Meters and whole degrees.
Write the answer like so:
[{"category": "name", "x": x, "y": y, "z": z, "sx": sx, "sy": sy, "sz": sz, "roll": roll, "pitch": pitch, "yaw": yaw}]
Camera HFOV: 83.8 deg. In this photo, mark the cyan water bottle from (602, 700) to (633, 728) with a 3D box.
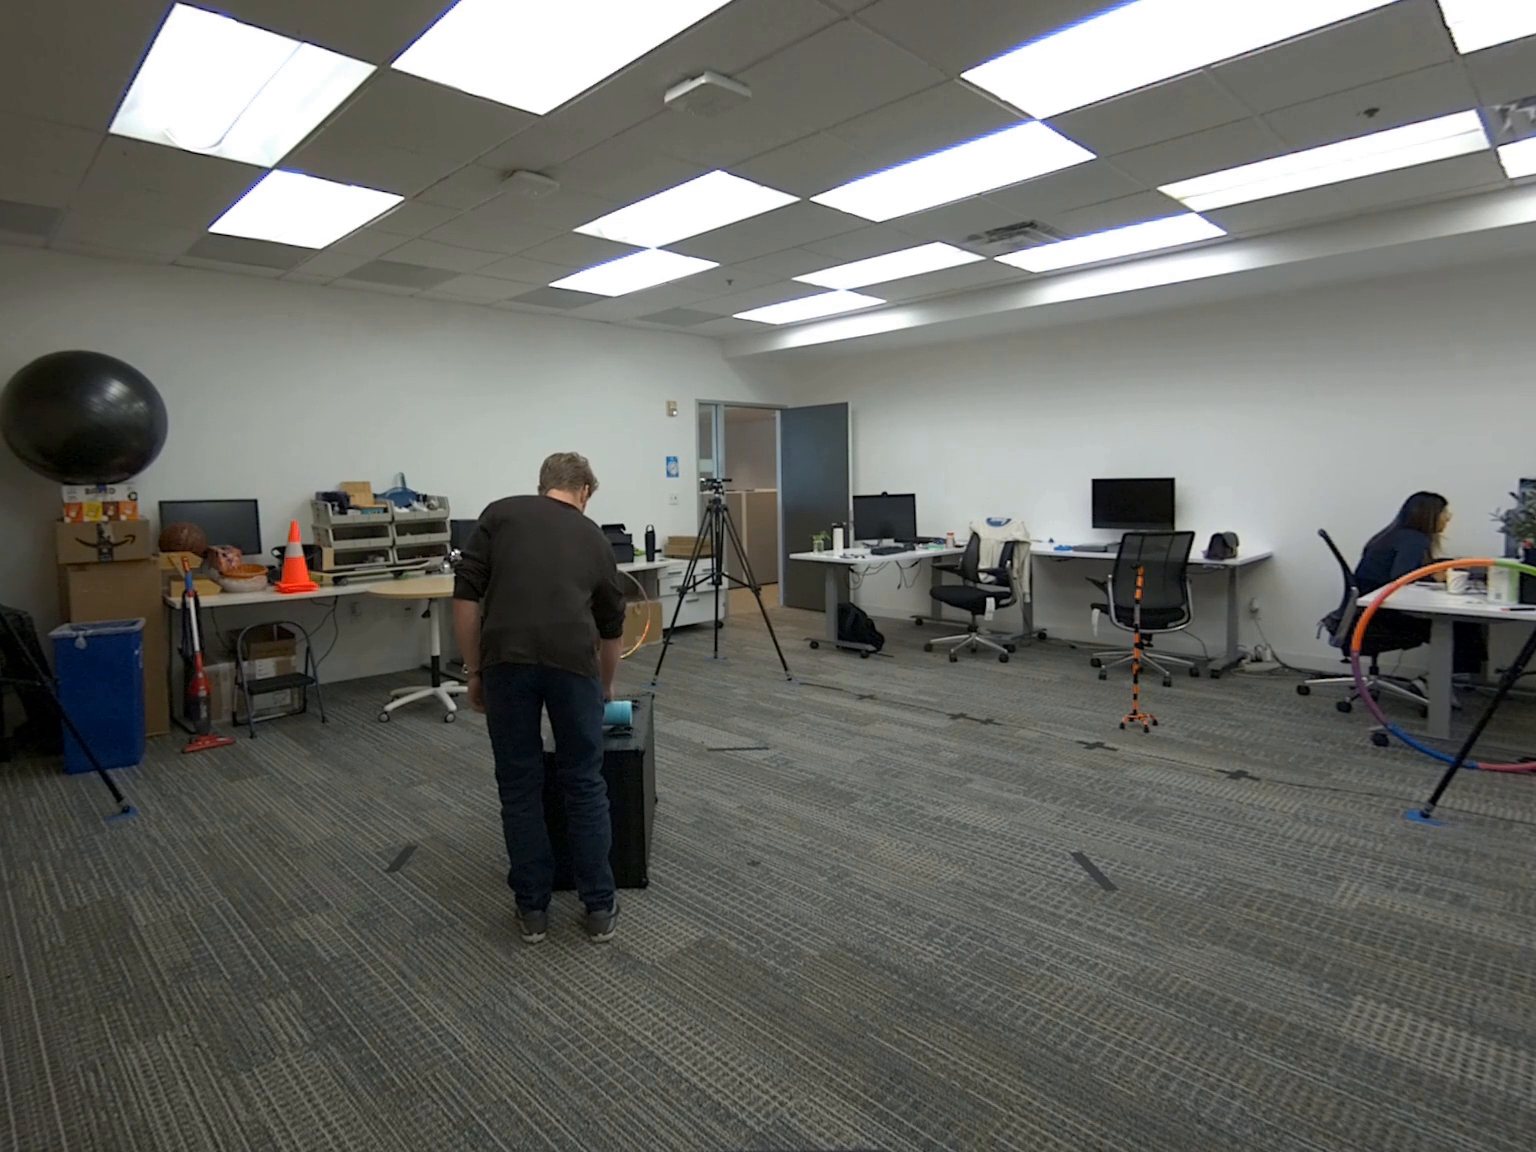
[{"category": "cyan water bottle", "x": -0.648, "y": 0.515, "z": 3.168, "sx": 0.283, "sy": 0.092, "sz": 0.093, "roll": 1, "pitch": 5, "yaw": -2}]
